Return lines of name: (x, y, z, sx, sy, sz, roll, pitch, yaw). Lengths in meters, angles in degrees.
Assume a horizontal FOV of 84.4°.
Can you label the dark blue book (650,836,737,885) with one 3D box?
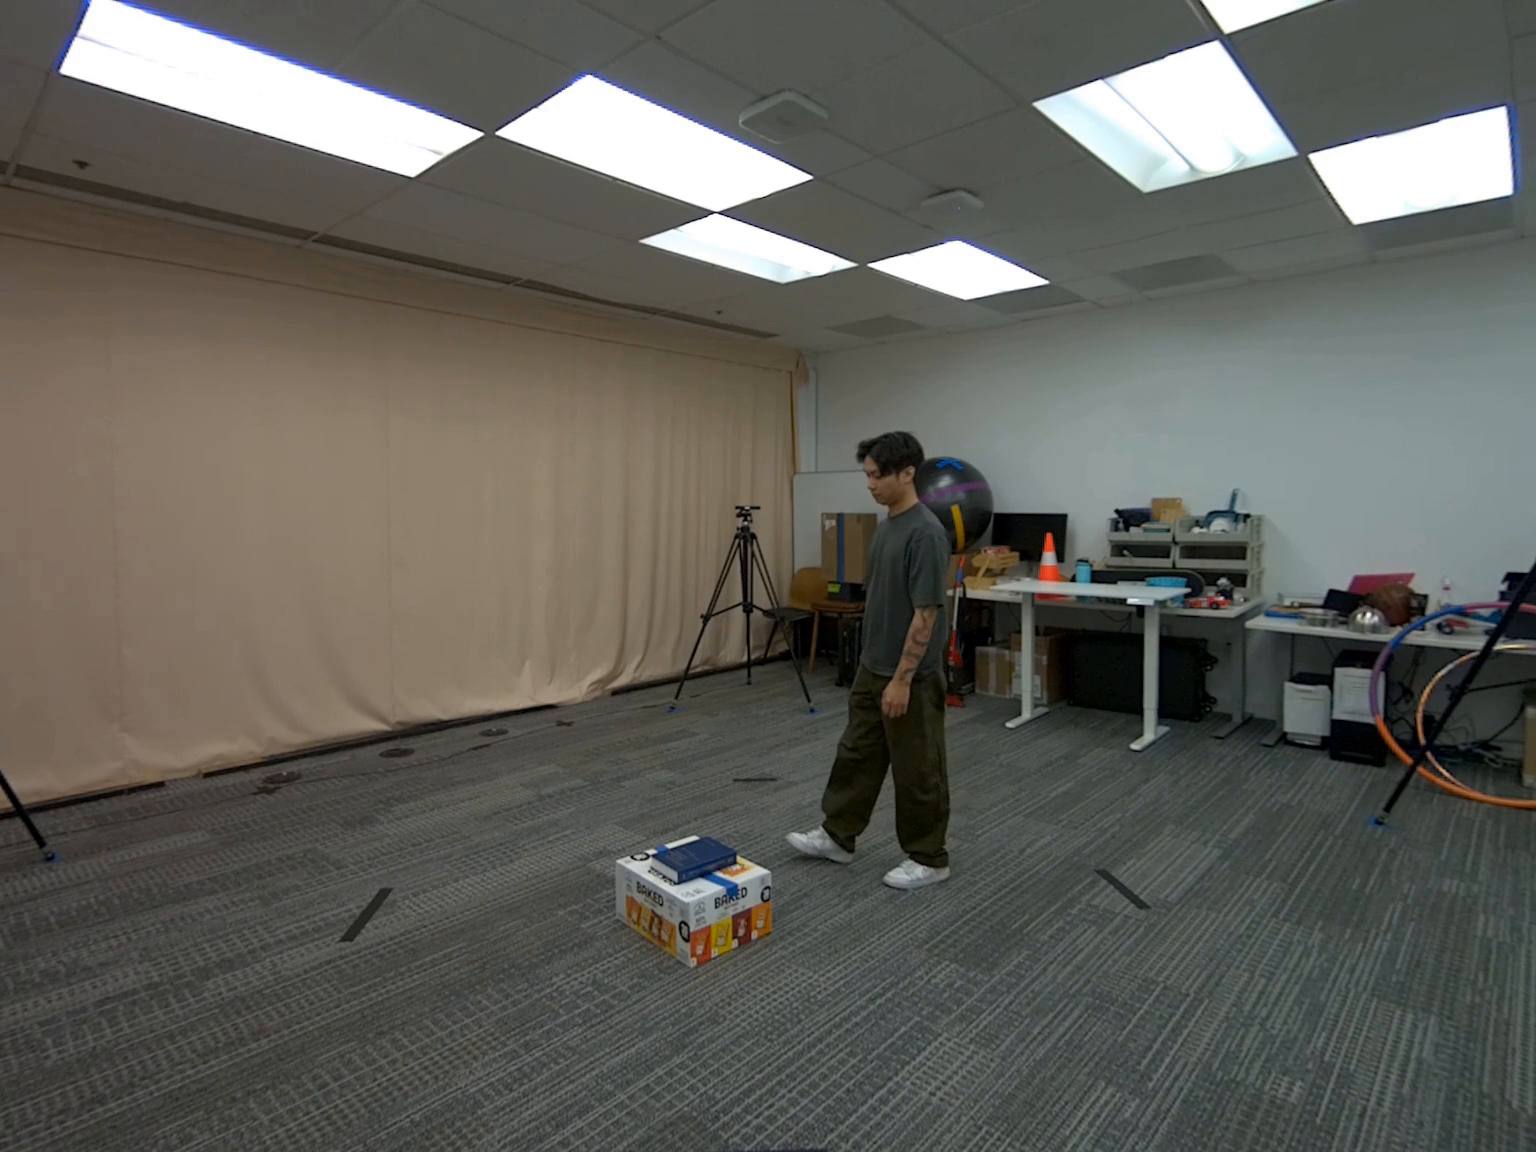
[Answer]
dark blue book: (-0.250, 0.948, 2.790, 0.238, 0.045, 0.169, -5, 7, -39)
